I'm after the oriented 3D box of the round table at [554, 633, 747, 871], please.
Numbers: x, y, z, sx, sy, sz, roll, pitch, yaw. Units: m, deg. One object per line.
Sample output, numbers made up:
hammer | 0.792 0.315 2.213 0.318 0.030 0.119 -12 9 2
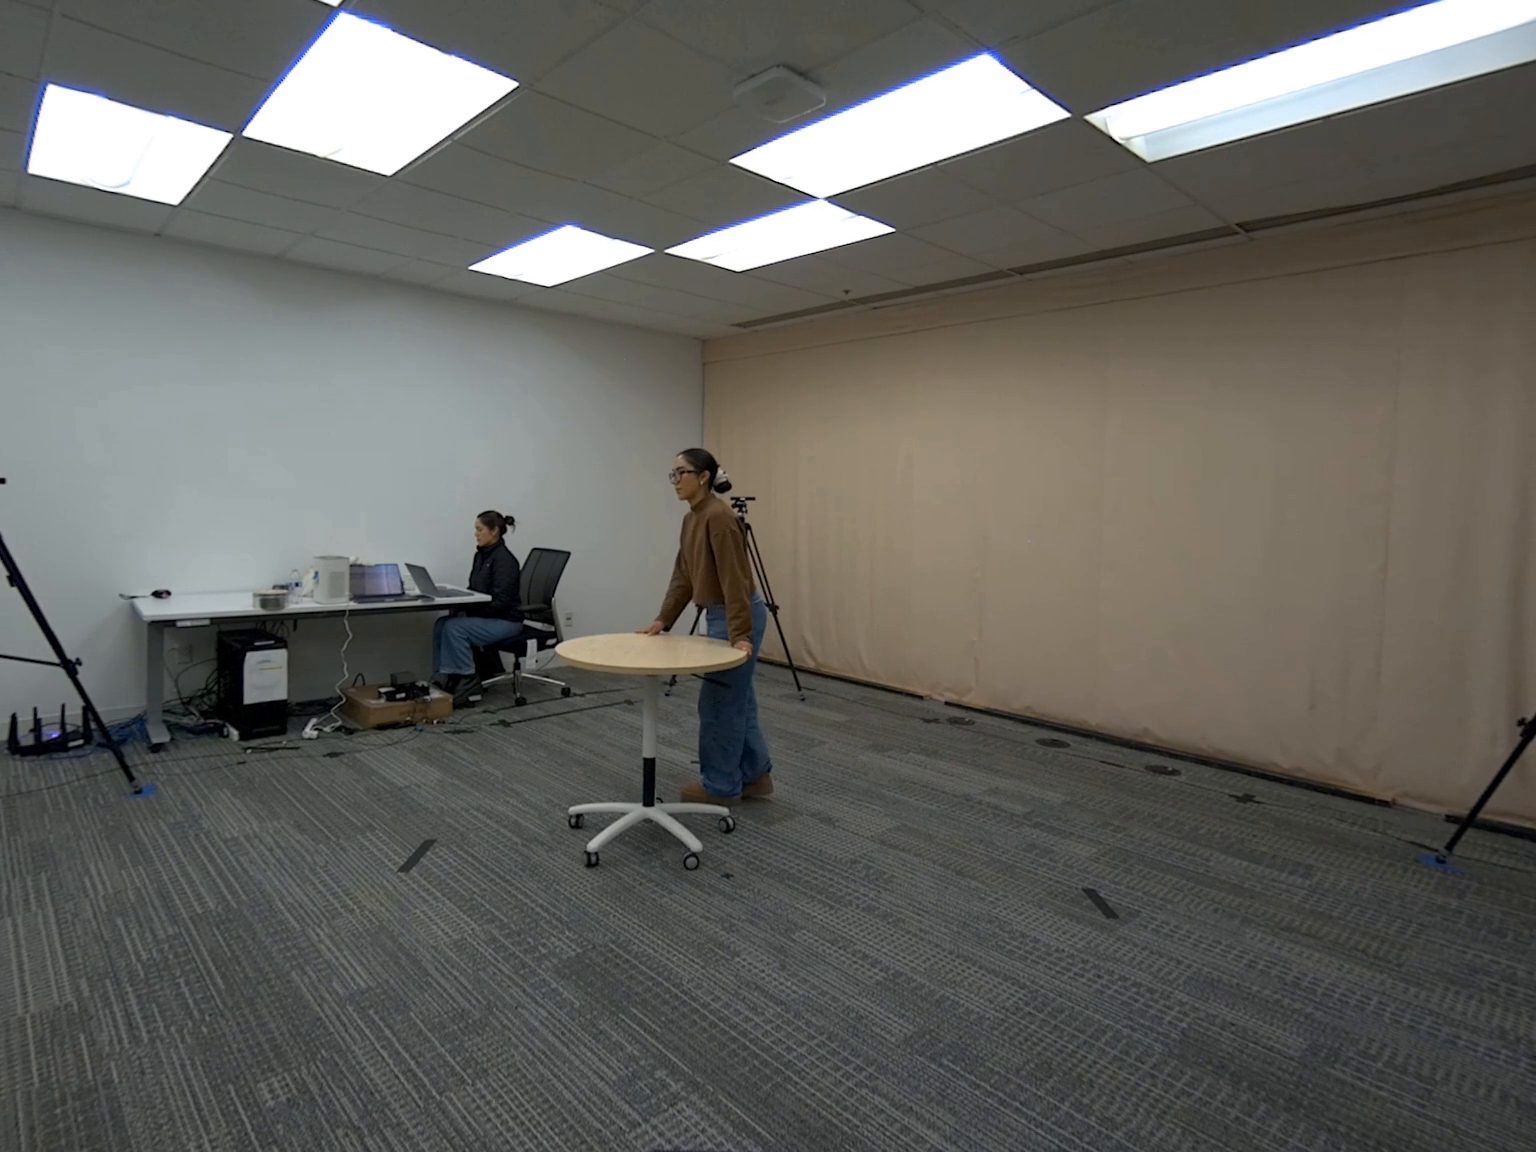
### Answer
round table | -0.471 0.679 3.401 0.784 0.784 0.788 1 4 -1
